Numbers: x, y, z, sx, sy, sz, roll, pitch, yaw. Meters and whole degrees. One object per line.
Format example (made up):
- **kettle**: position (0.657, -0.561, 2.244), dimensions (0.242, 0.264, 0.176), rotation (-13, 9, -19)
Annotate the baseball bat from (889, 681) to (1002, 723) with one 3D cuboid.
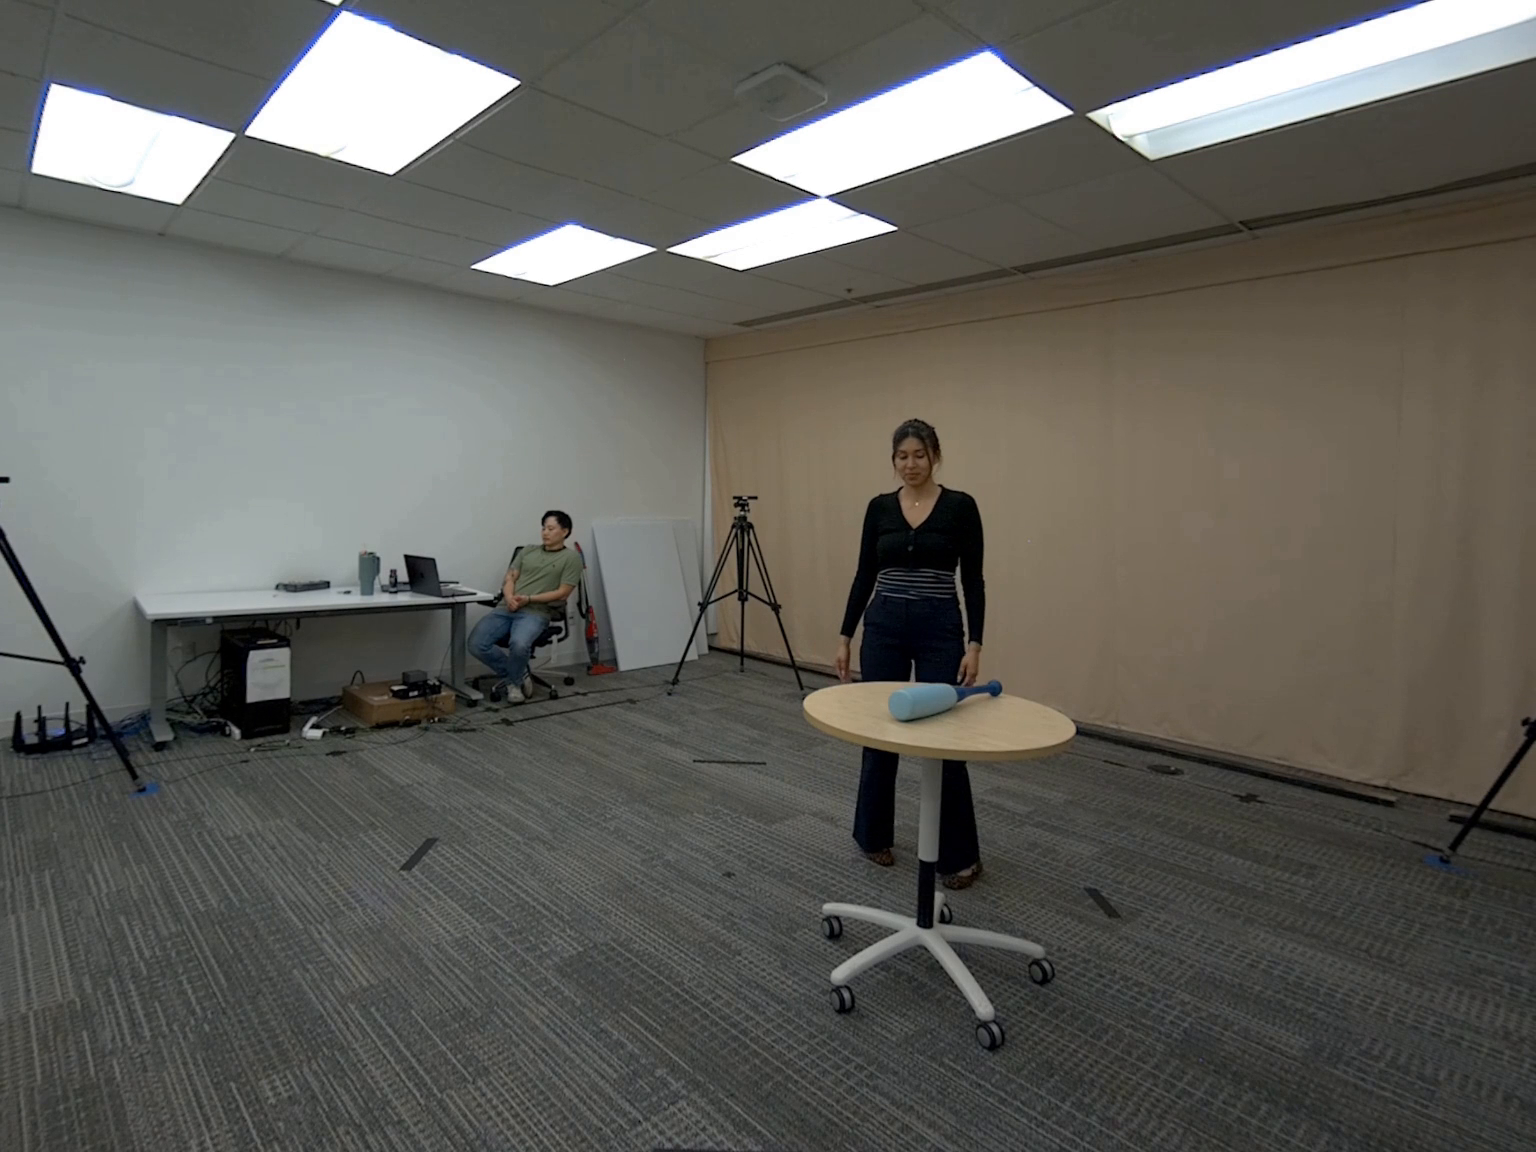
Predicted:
- **baseball bat**: position (0.543, 0.359, 2.494), dimensions (0.091, 0.089, 0.530), rotation (6, 4, 45)
